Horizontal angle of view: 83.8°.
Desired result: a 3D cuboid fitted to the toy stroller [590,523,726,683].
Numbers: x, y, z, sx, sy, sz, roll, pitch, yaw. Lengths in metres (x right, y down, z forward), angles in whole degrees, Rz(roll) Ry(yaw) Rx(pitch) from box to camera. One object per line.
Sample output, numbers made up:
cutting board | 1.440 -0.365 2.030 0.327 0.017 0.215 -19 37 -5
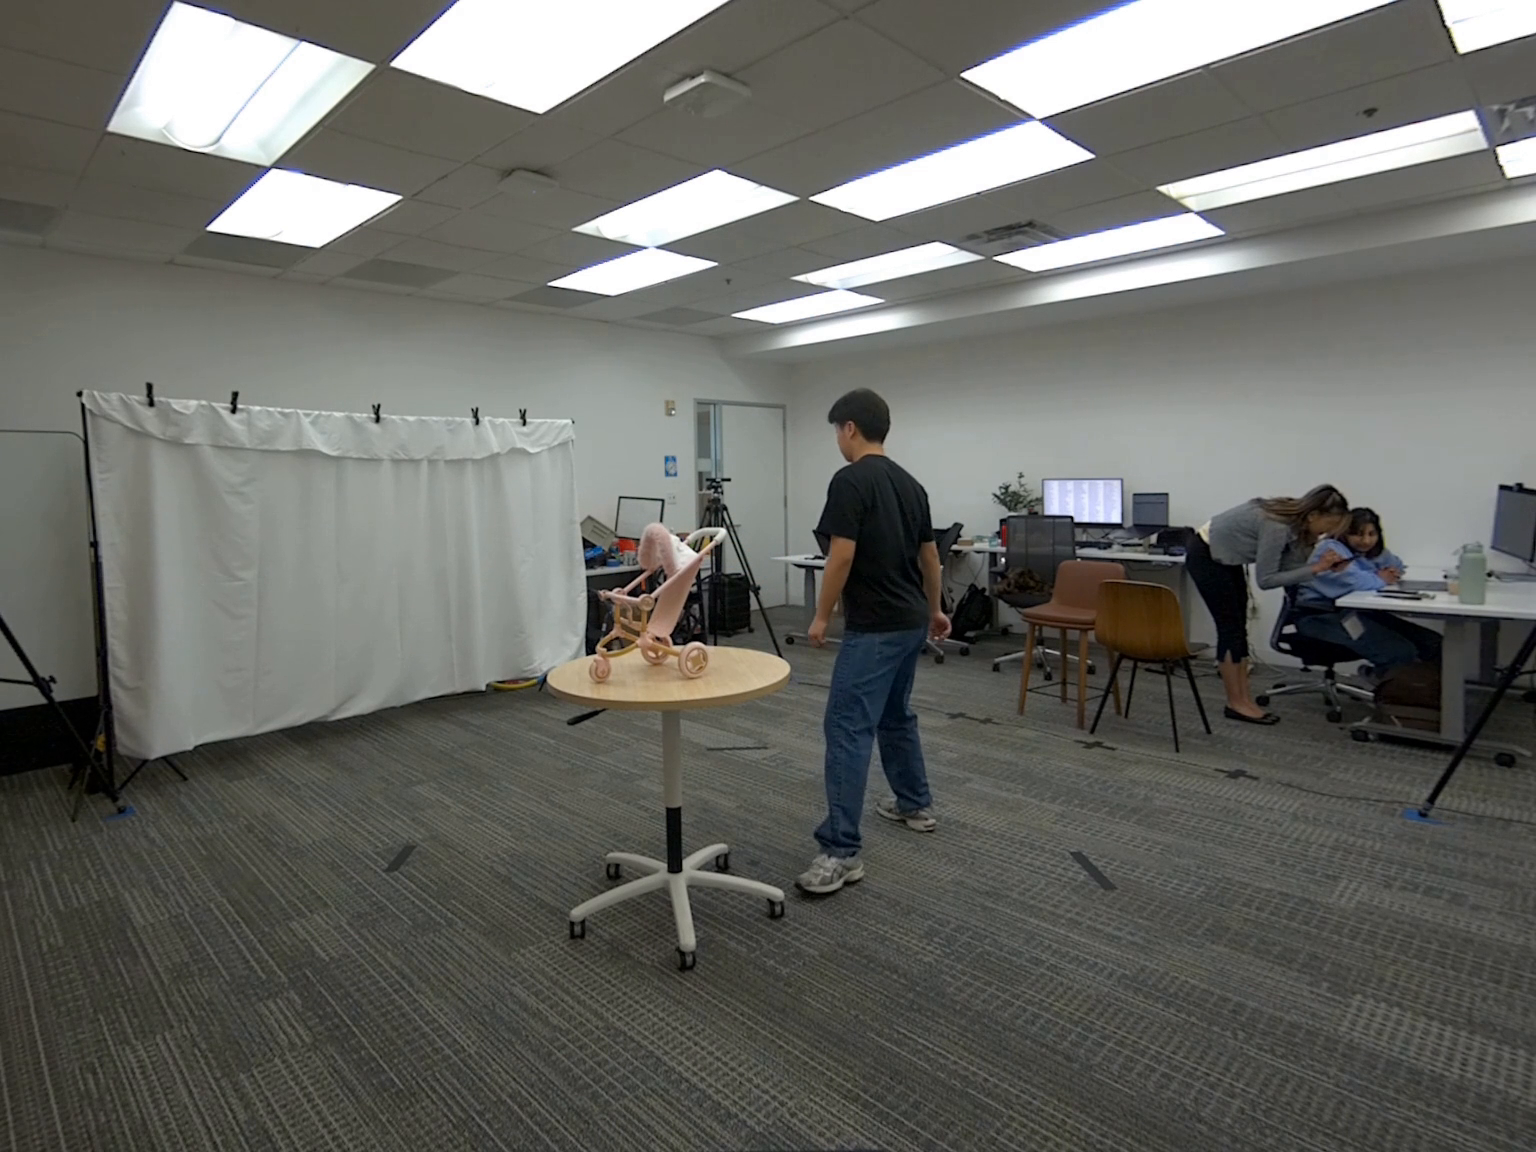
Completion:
toy stroller | -0.352 0.079 2.649 0.332 0.536 0.289 13 -3 -28
